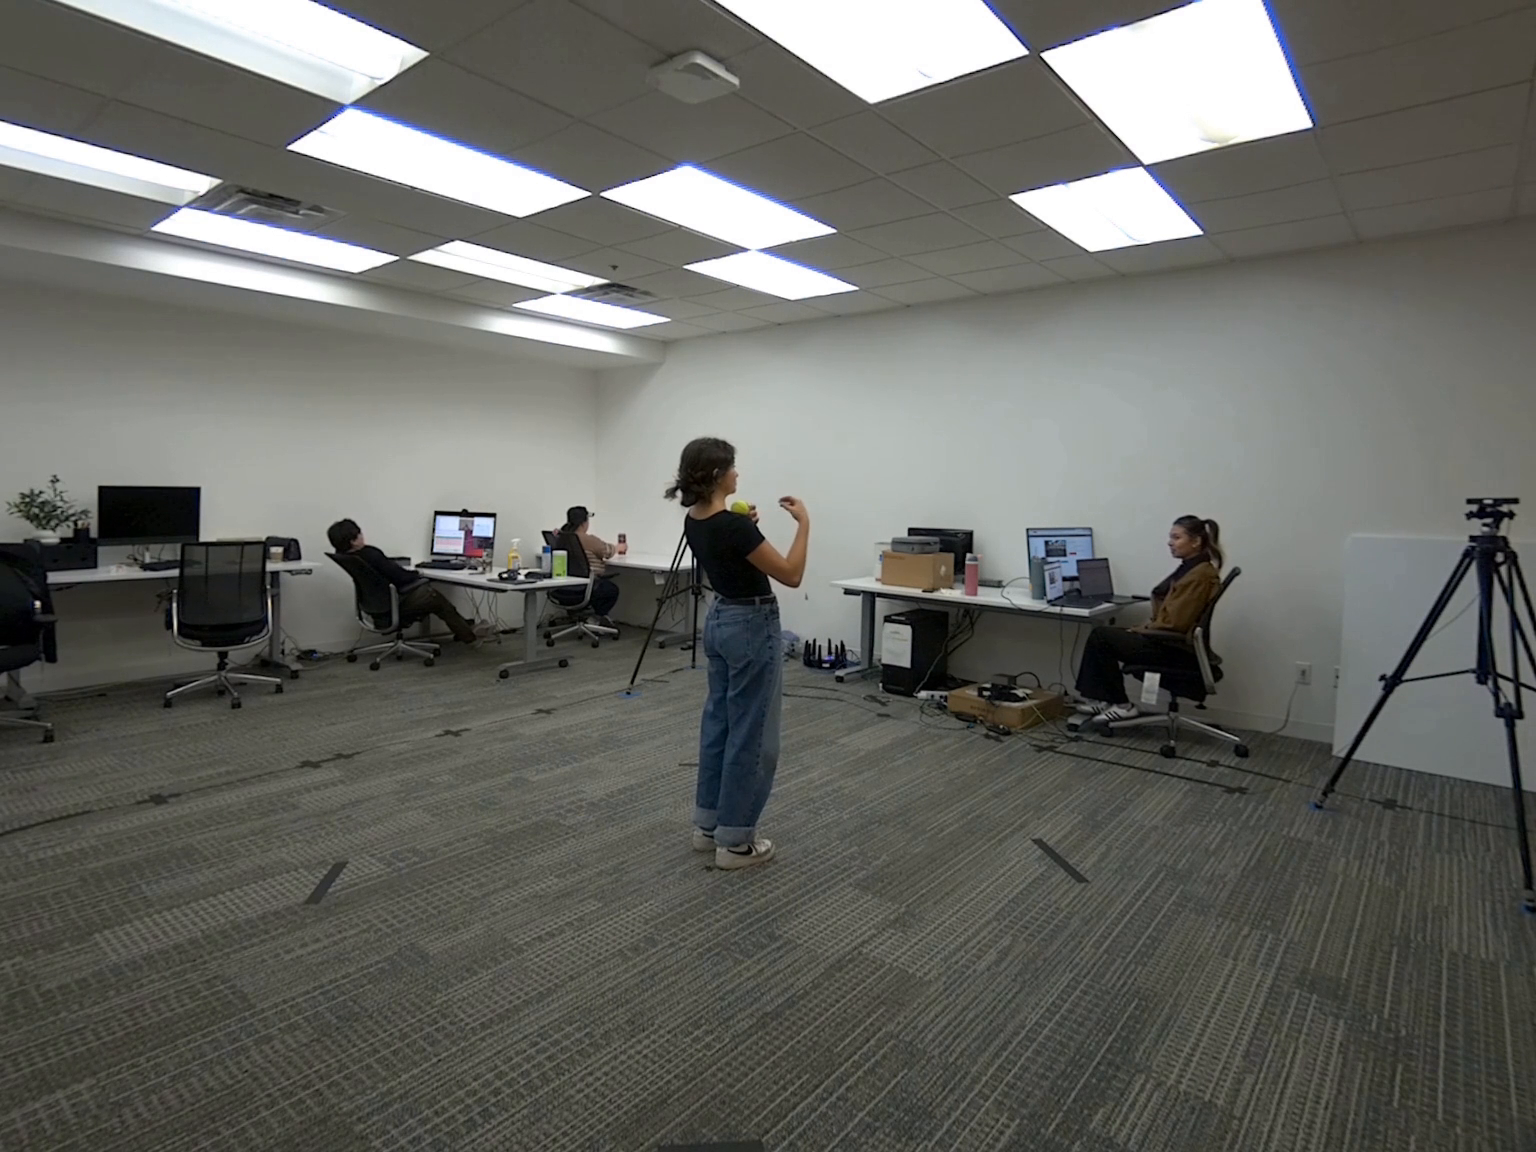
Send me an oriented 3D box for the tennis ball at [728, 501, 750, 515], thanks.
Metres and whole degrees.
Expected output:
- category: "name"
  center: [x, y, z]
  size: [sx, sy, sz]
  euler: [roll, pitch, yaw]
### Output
- category: "tennis ball"
  center: [-0.116, -0.254, 3.183]
  size: [0.066, 0.066, 0.067]
  euler: [1, 4, -2]
